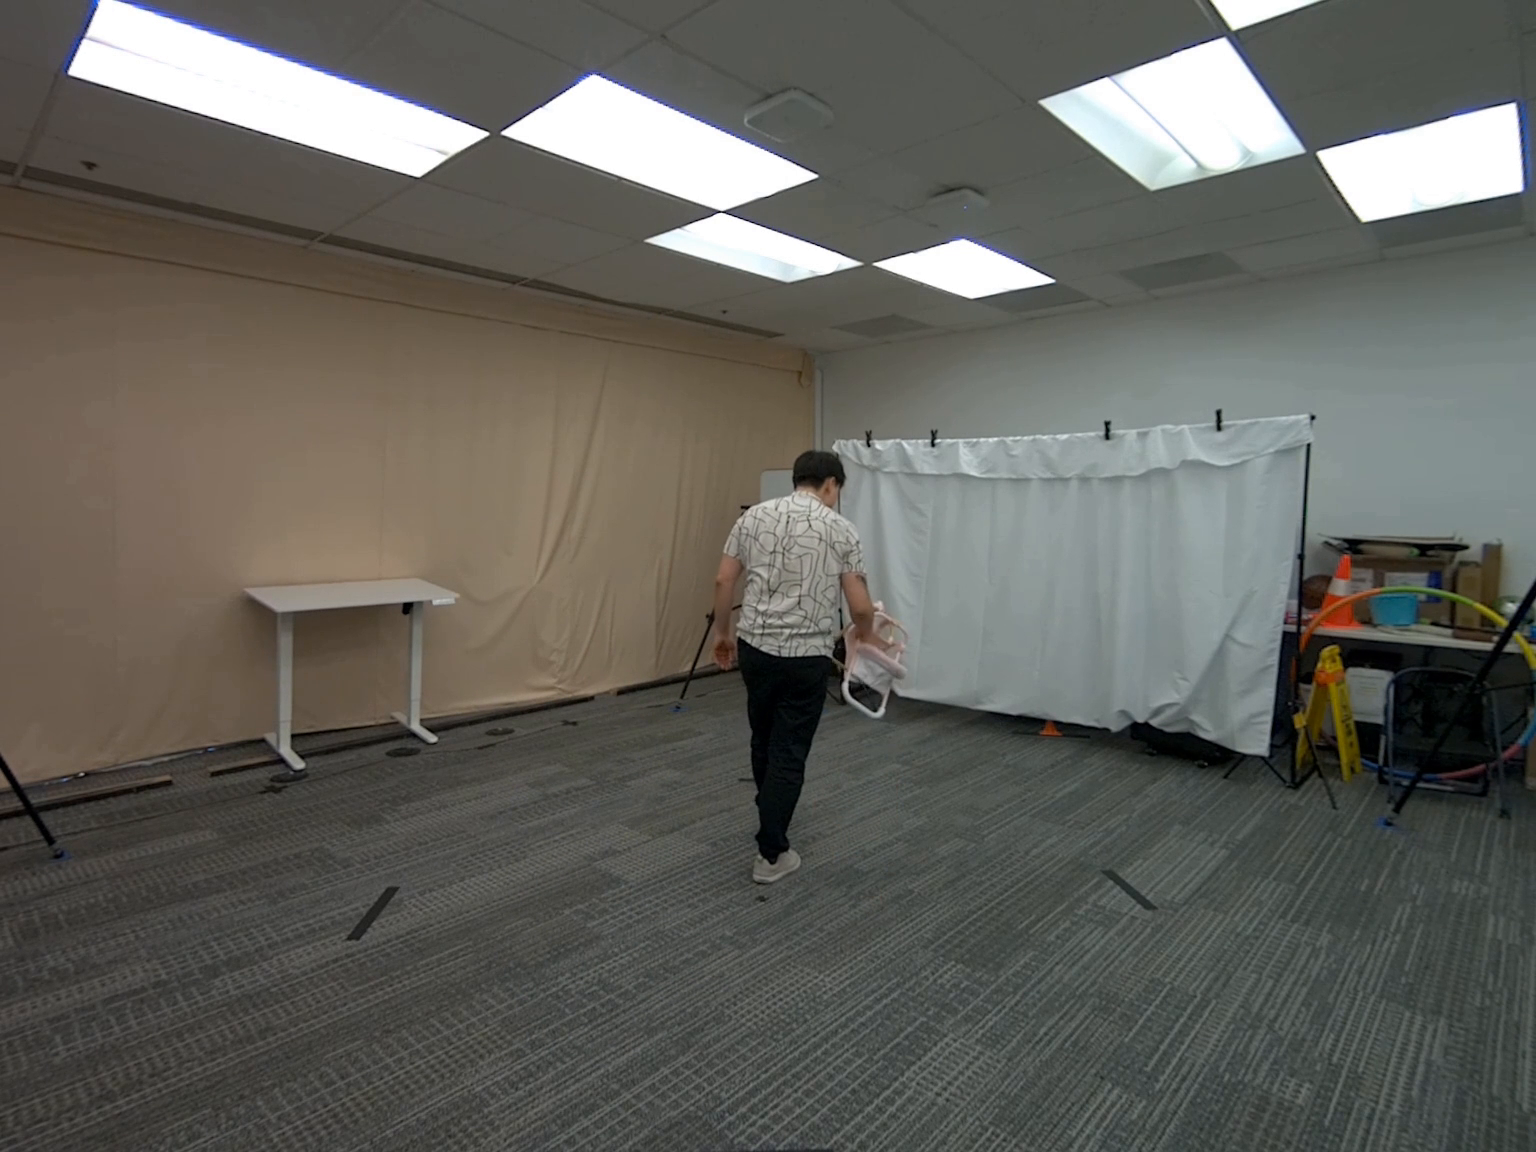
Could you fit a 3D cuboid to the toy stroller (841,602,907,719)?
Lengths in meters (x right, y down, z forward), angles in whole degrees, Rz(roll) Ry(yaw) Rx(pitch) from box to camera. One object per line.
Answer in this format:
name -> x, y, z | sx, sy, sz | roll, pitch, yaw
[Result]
toy stroller -> 0.433, 0.309, 3.430 | 0.277, 0.342, 0.543 | 38, 8, -15
